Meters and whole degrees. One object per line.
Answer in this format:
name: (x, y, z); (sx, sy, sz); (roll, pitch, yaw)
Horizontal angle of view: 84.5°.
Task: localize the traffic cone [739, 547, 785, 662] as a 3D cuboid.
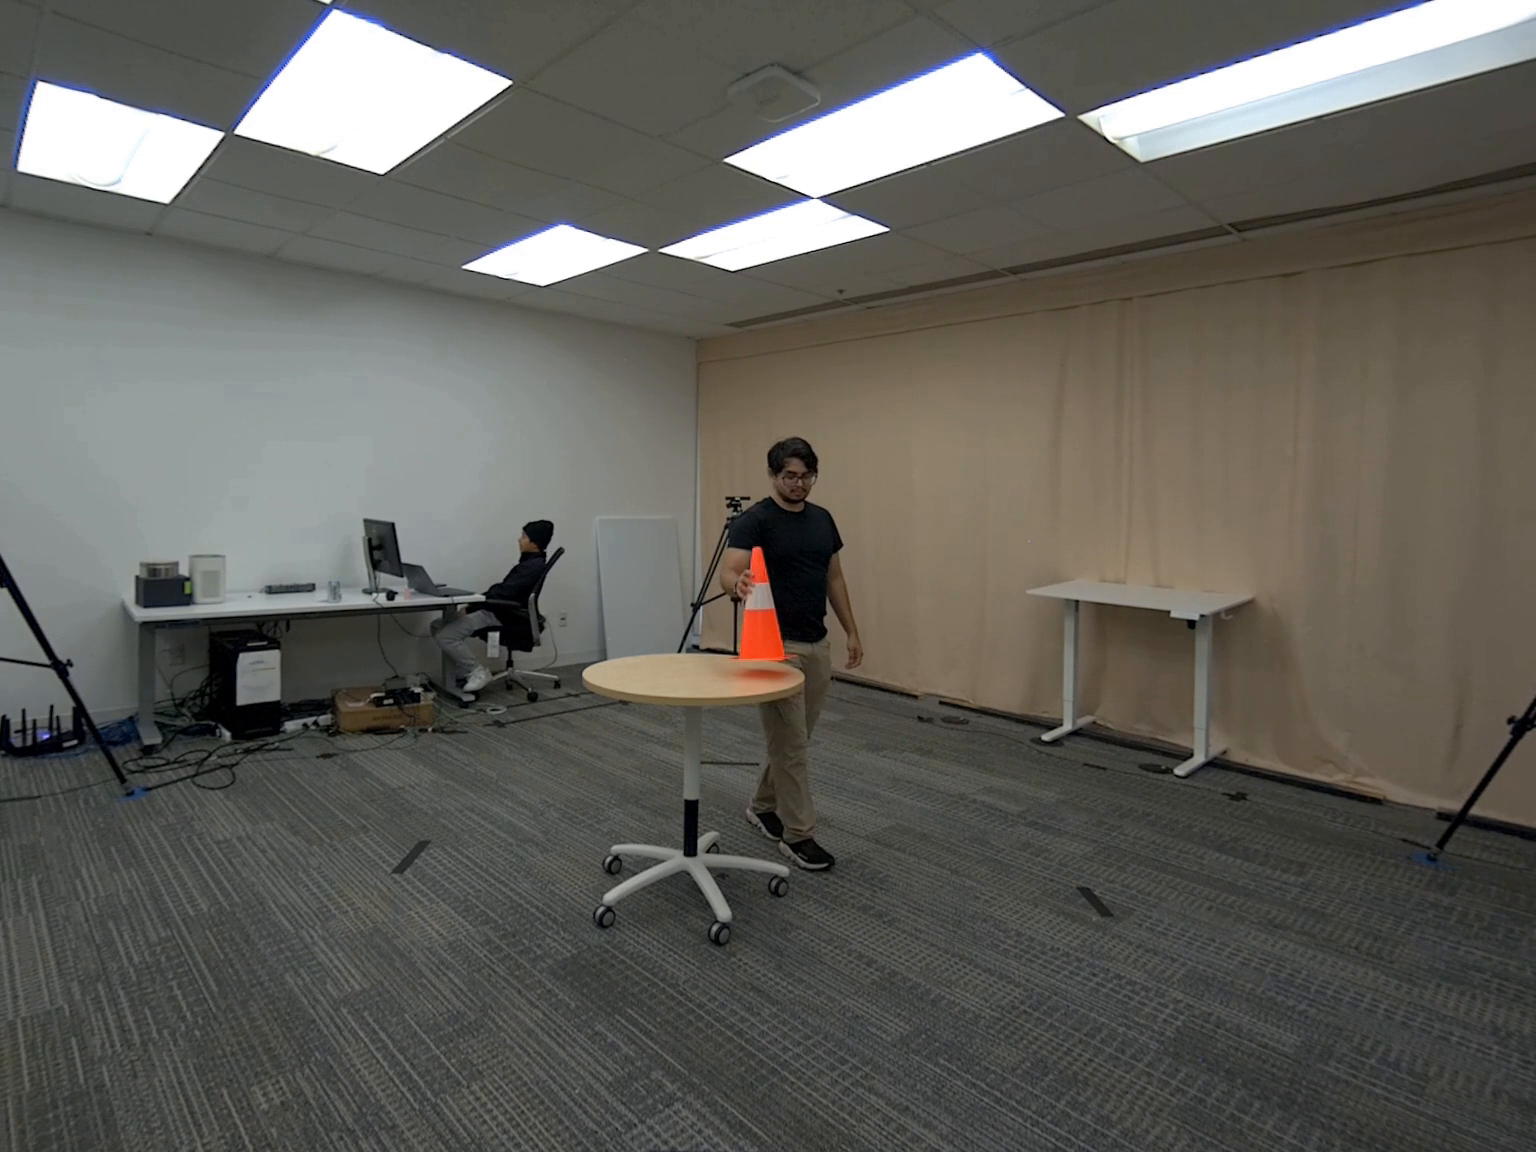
traffic cone: (-0.038, 0.098, 2.916); (0.206, 0.384, 0.202); (0, 0, 20)
